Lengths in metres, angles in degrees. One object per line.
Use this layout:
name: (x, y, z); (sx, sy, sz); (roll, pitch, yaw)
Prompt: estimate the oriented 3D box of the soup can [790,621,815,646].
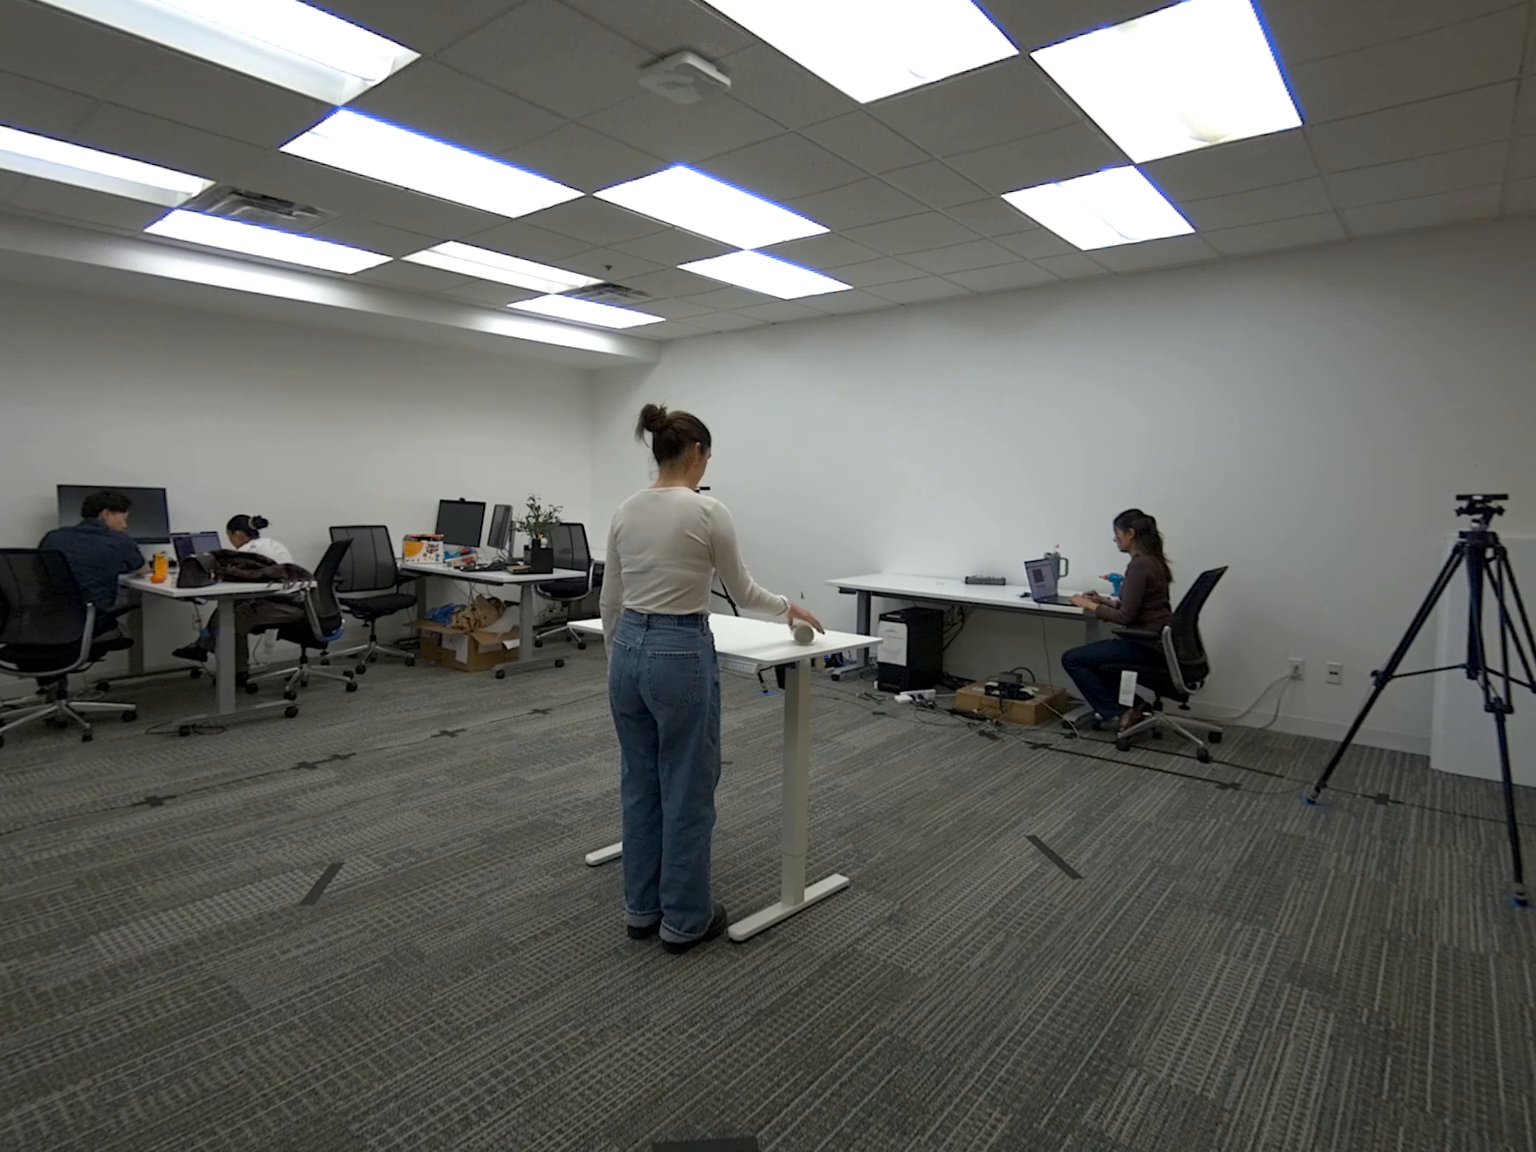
soup can: (0.109, 0.179, 2.809); (0.122, 0.067, 0.067); (-1, 4, 5)
